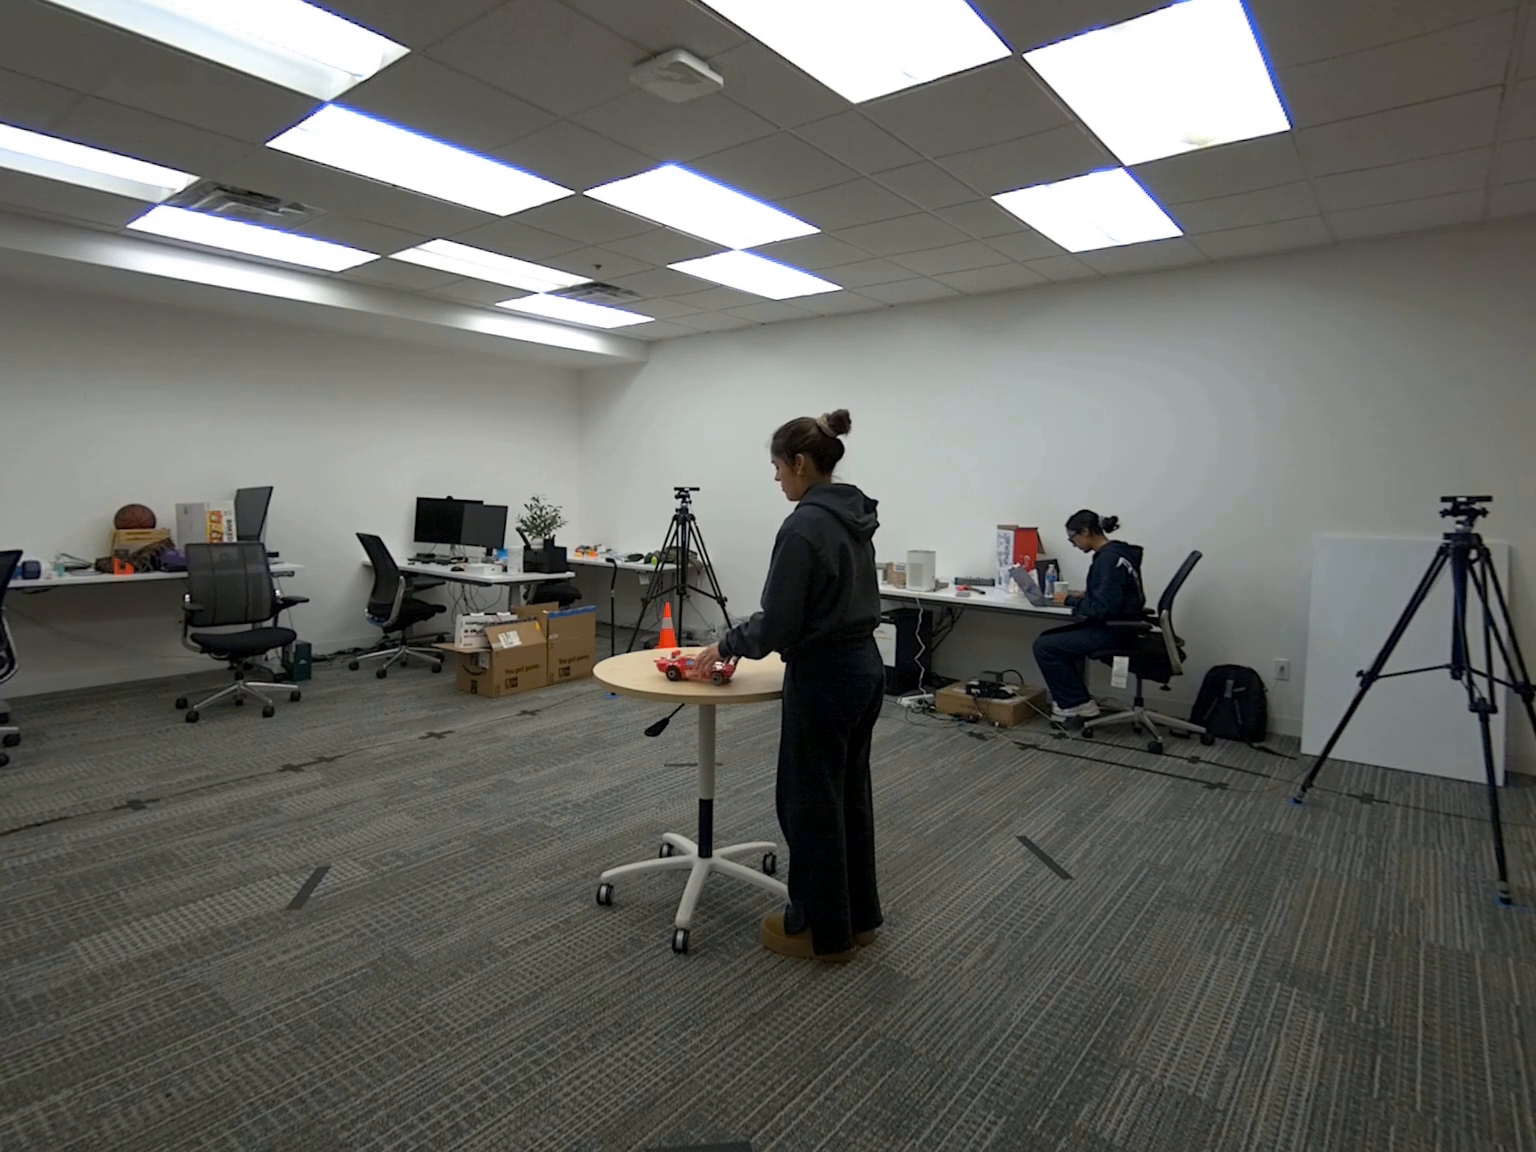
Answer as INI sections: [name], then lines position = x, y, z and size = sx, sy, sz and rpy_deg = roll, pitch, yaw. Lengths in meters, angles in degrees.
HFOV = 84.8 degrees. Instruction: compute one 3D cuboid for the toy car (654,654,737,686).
[toy car]
position = -0.239, 0.297, 2.686
size = 0.259, 0.083, 0.129
rpy_deg = 14, 8, 13
